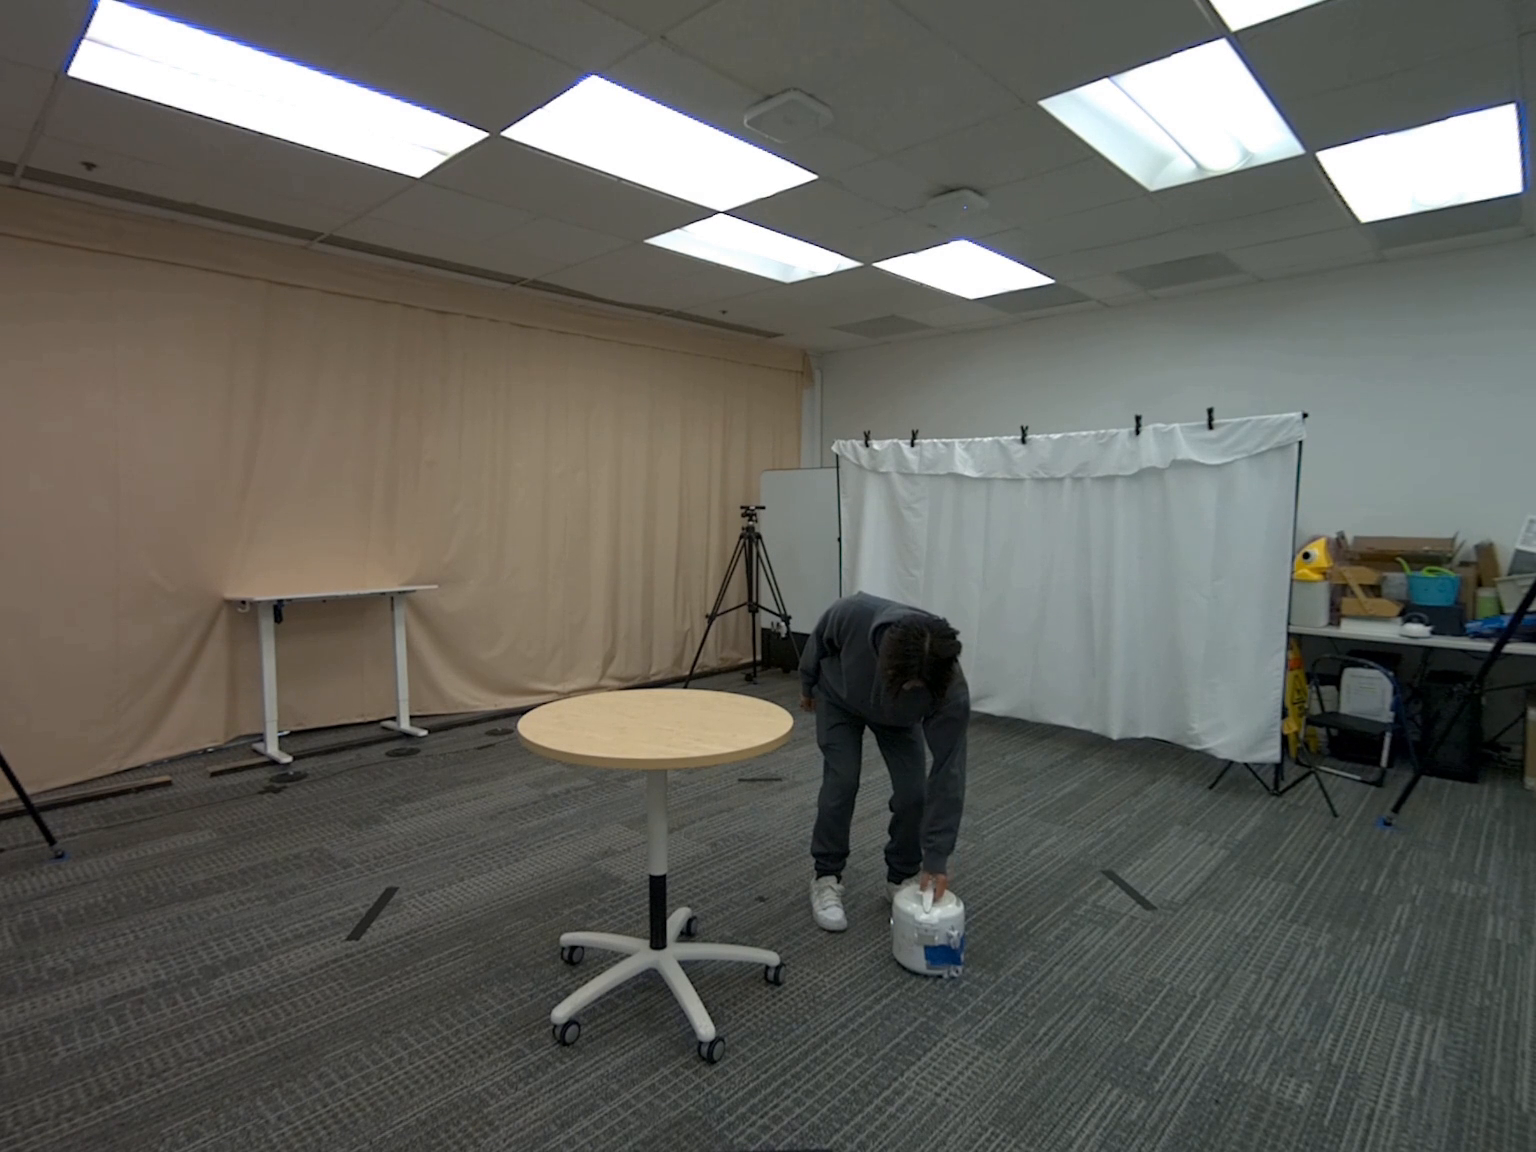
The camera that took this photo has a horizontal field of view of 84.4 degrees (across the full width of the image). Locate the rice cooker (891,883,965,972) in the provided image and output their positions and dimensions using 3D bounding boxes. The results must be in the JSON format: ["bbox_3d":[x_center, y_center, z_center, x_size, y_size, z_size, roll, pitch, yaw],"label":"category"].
[{"bbox_3d":[0.485,1.059,2.561,0.222,0.232,0.217,1,4,17],"label":"rice cooker"}]
